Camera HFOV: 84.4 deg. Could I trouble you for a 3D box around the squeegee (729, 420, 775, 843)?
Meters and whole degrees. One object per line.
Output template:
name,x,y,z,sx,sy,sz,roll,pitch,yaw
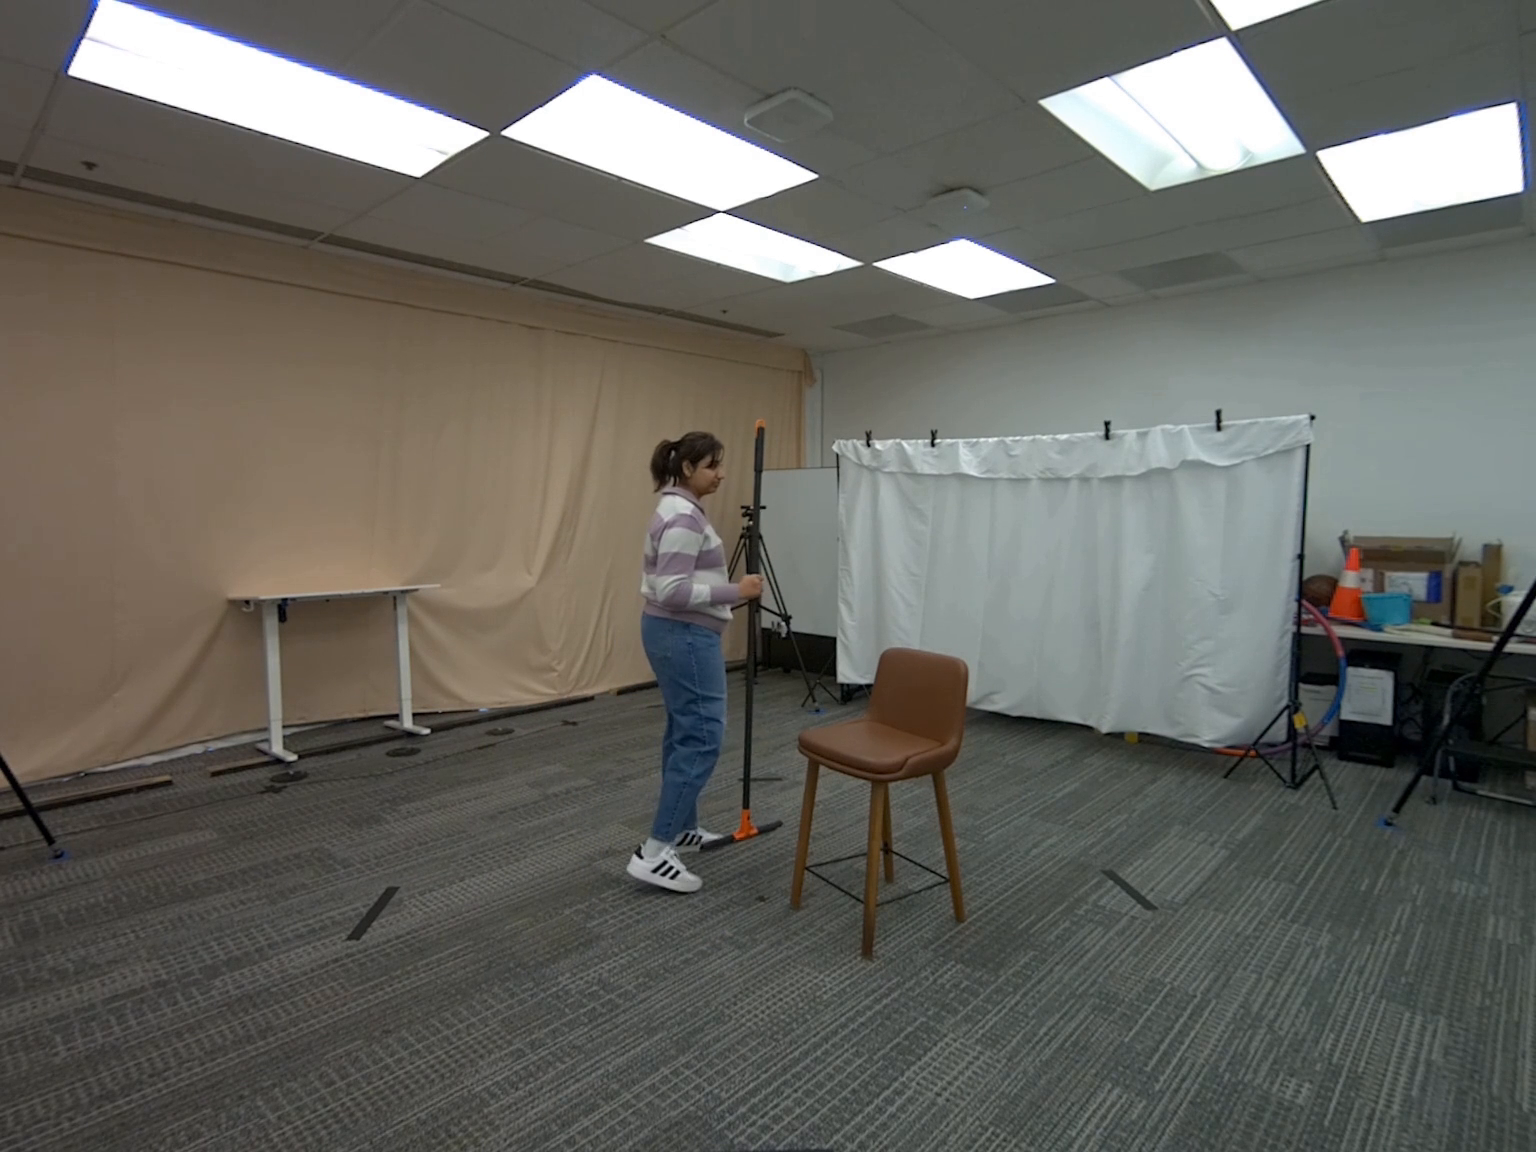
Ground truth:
squeegee,-0.060,0.204,3.057,0.053,1.539,0.438,1,-1,-4
